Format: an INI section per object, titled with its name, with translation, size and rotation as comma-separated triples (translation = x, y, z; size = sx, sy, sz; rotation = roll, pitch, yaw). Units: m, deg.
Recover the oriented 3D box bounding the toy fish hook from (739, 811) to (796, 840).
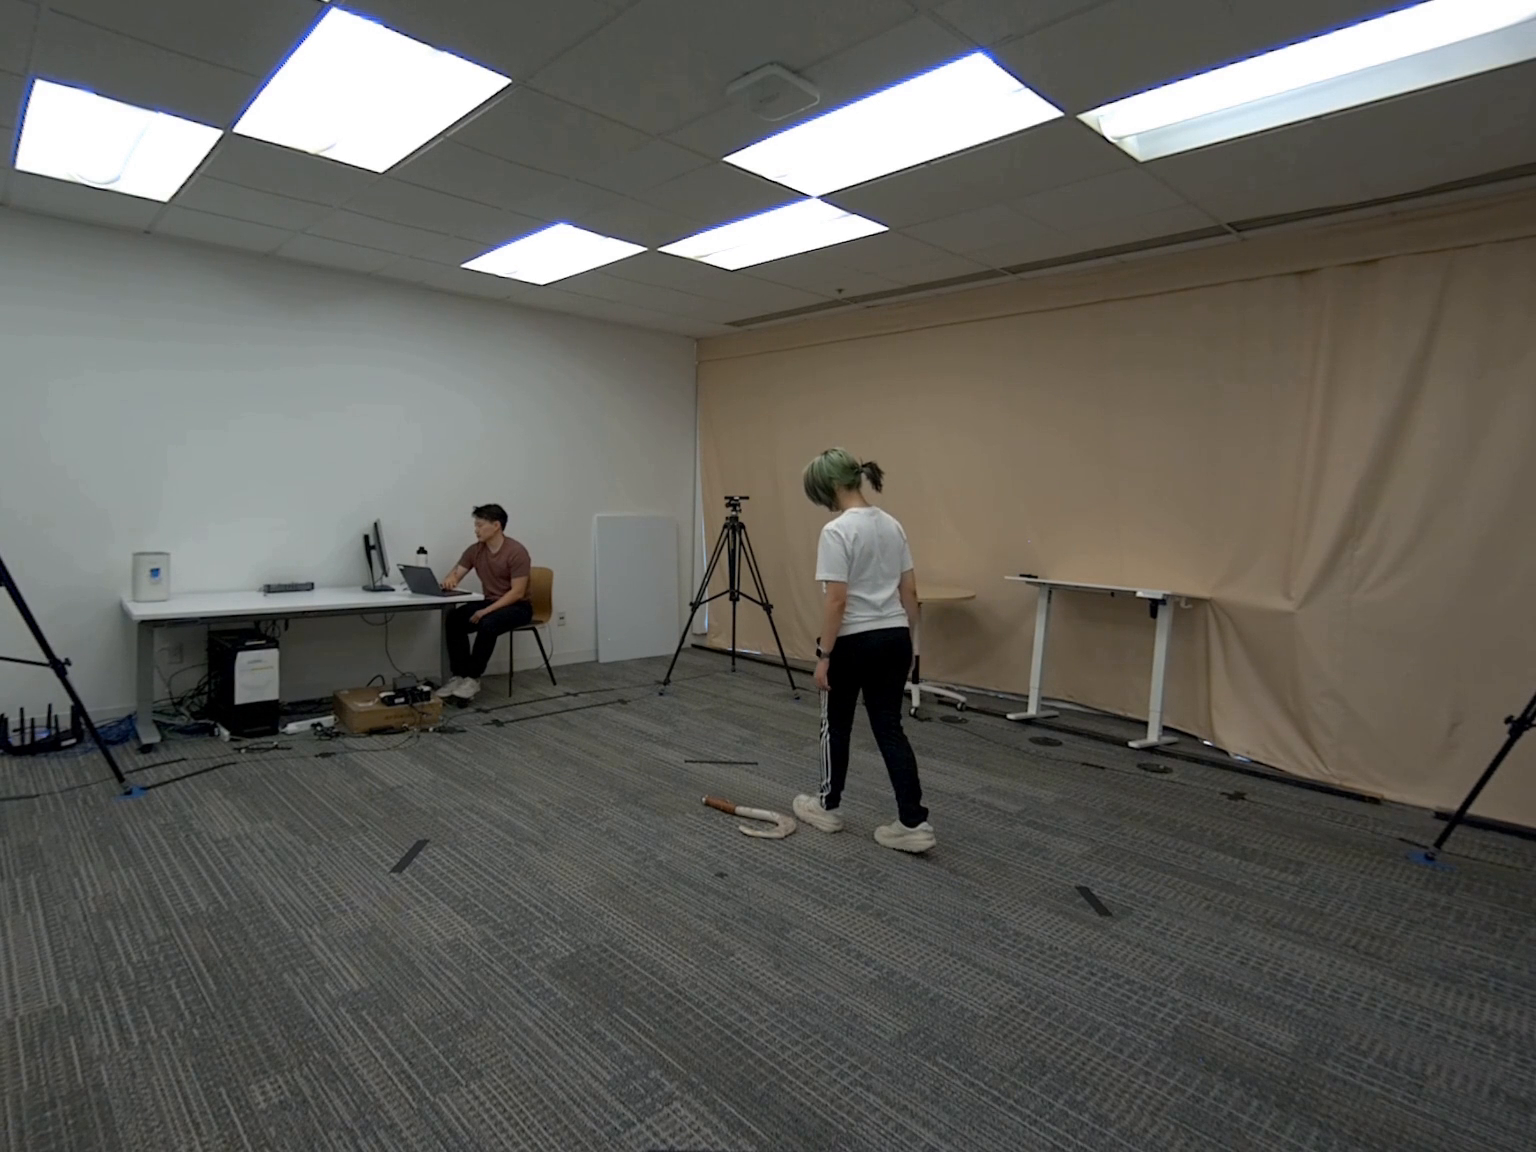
[toy fish hook]
translation = -0.120, 1.033, 3.629
size = 0.519, 0.048, 0.219
rotation = 5, 4, 36
